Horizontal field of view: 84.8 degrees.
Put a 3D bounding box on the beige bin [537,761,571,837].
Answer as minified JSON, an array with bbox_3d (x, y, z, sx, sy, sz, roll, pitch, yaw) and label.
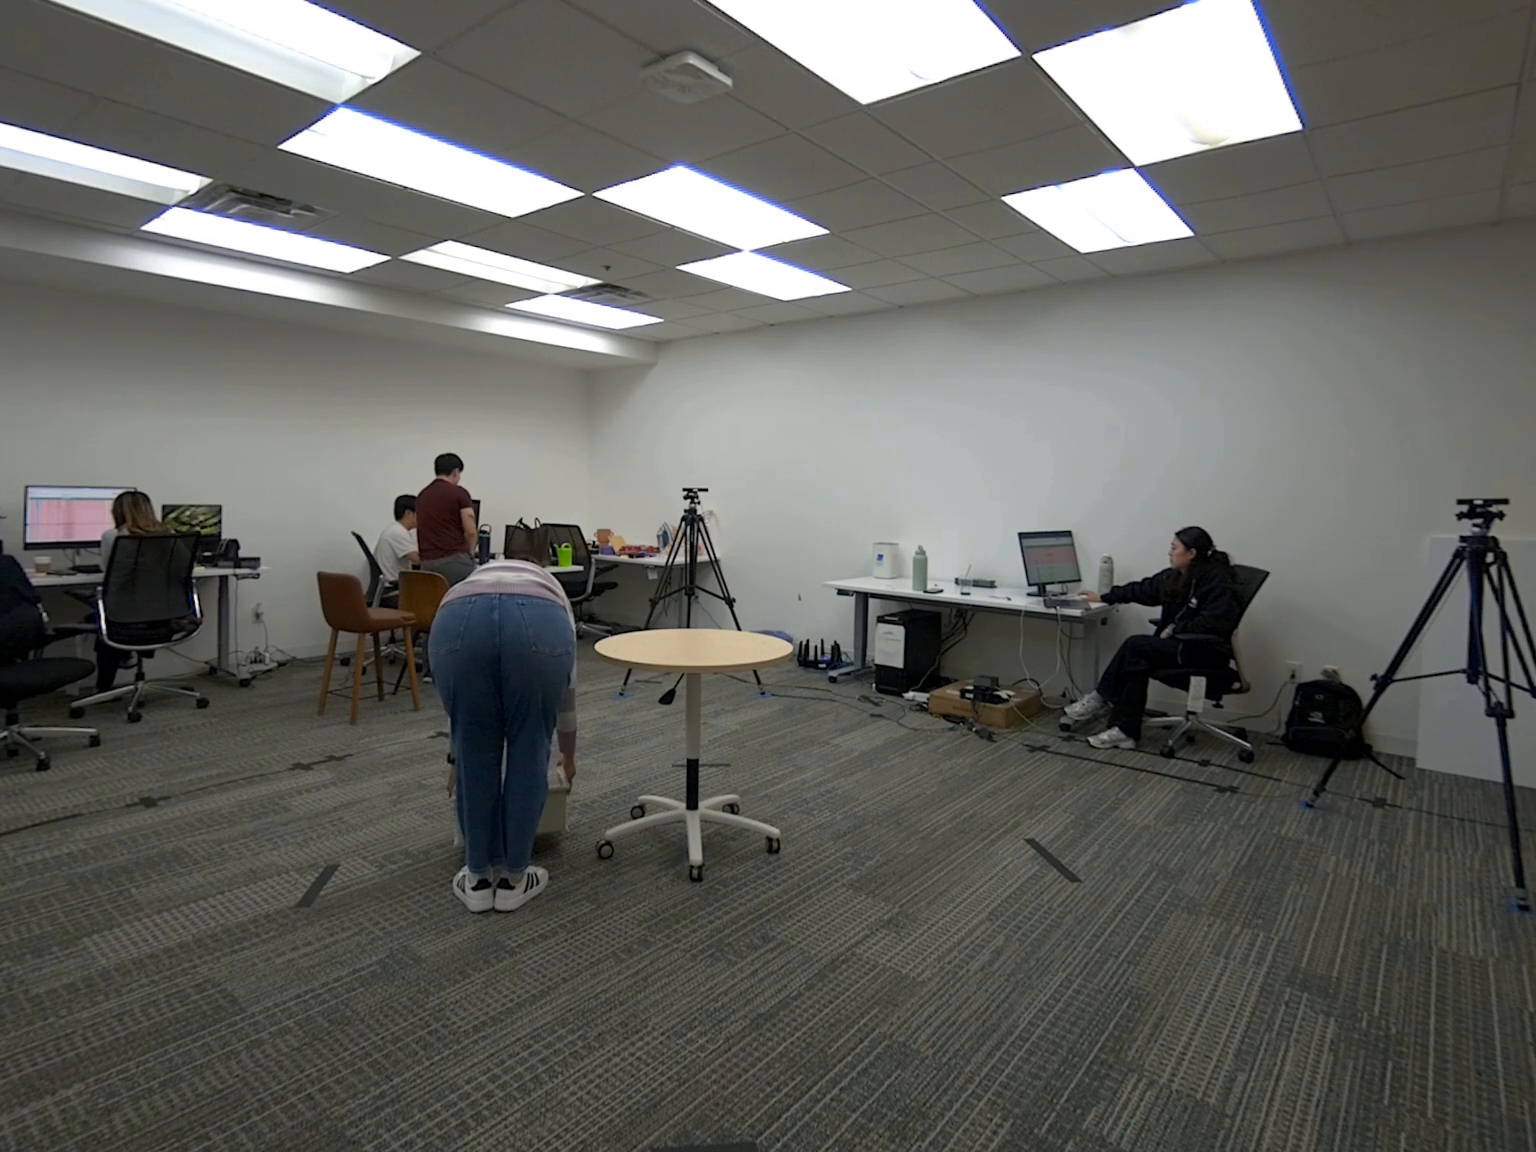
[{"bbox_3d":[-1.005,0.867,3.270,0.415,0.189,0.384,-1,2,-17],"label":"beige bin"}]
